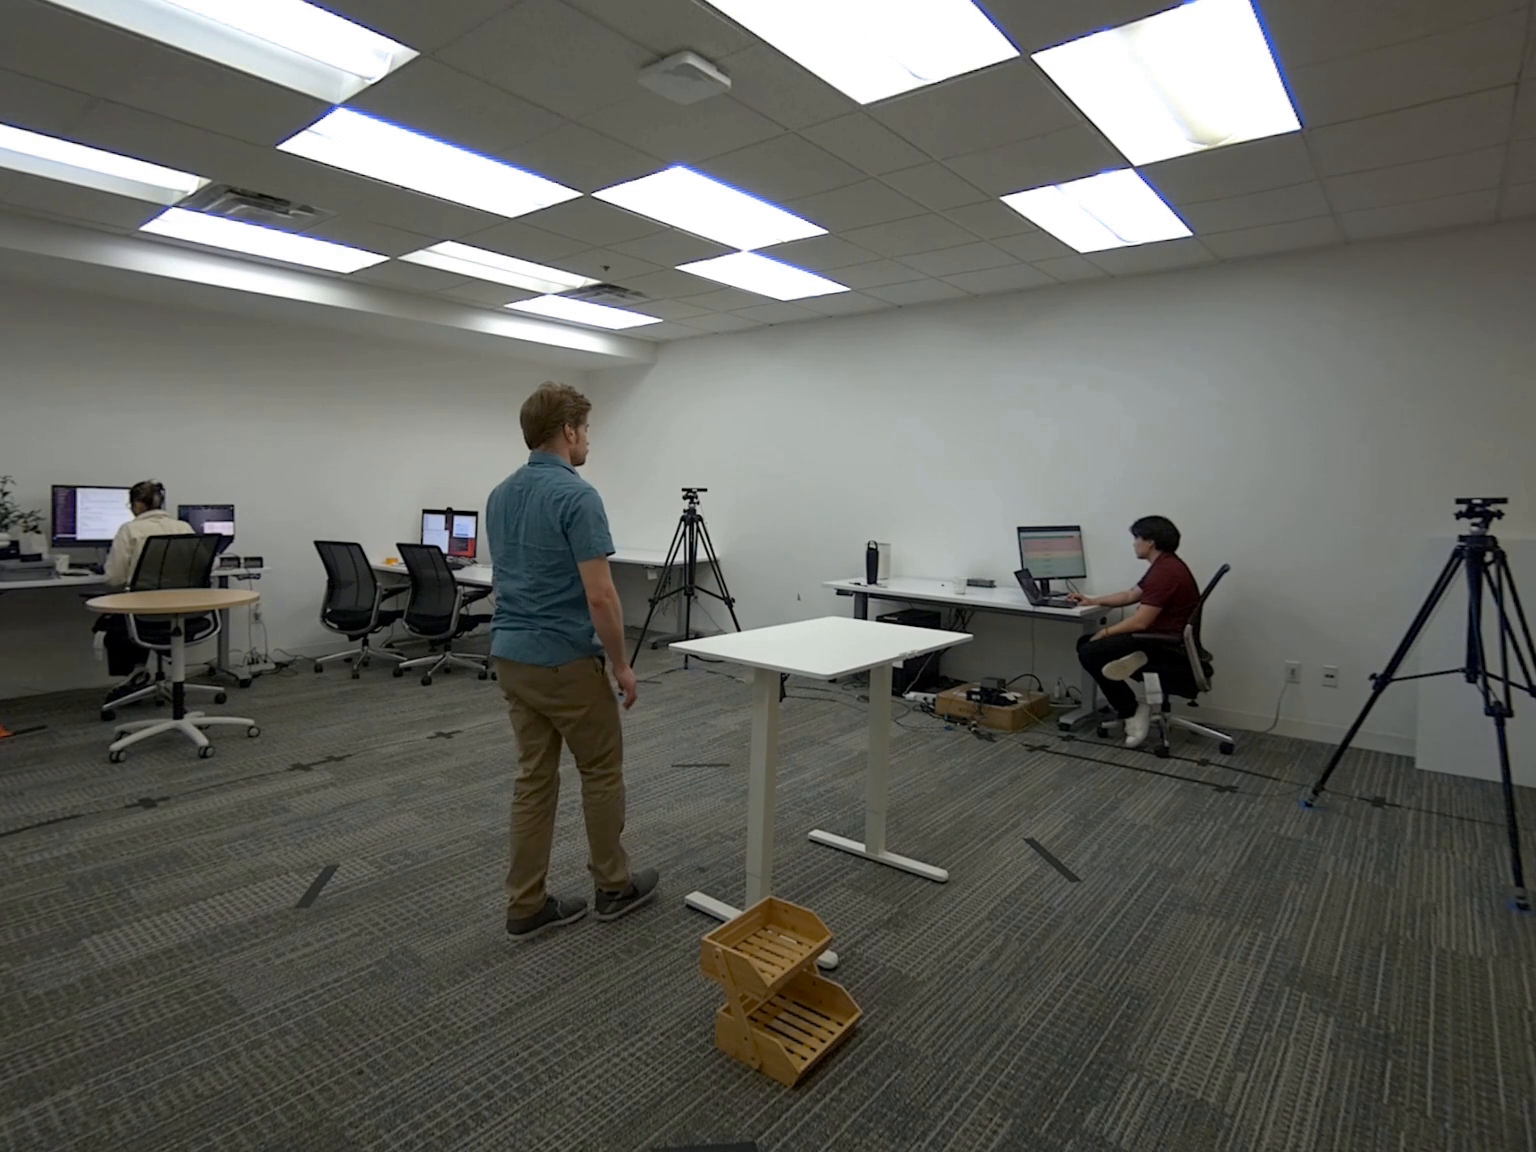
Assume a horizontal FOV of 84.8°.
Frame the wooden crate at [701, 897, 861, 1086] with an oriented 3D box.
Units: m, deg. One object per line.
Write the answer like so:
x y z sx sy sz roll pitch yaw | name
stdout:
0.034 1.034 2.169 0.312 0.272 0.315 3 4 37 | wooden crate
